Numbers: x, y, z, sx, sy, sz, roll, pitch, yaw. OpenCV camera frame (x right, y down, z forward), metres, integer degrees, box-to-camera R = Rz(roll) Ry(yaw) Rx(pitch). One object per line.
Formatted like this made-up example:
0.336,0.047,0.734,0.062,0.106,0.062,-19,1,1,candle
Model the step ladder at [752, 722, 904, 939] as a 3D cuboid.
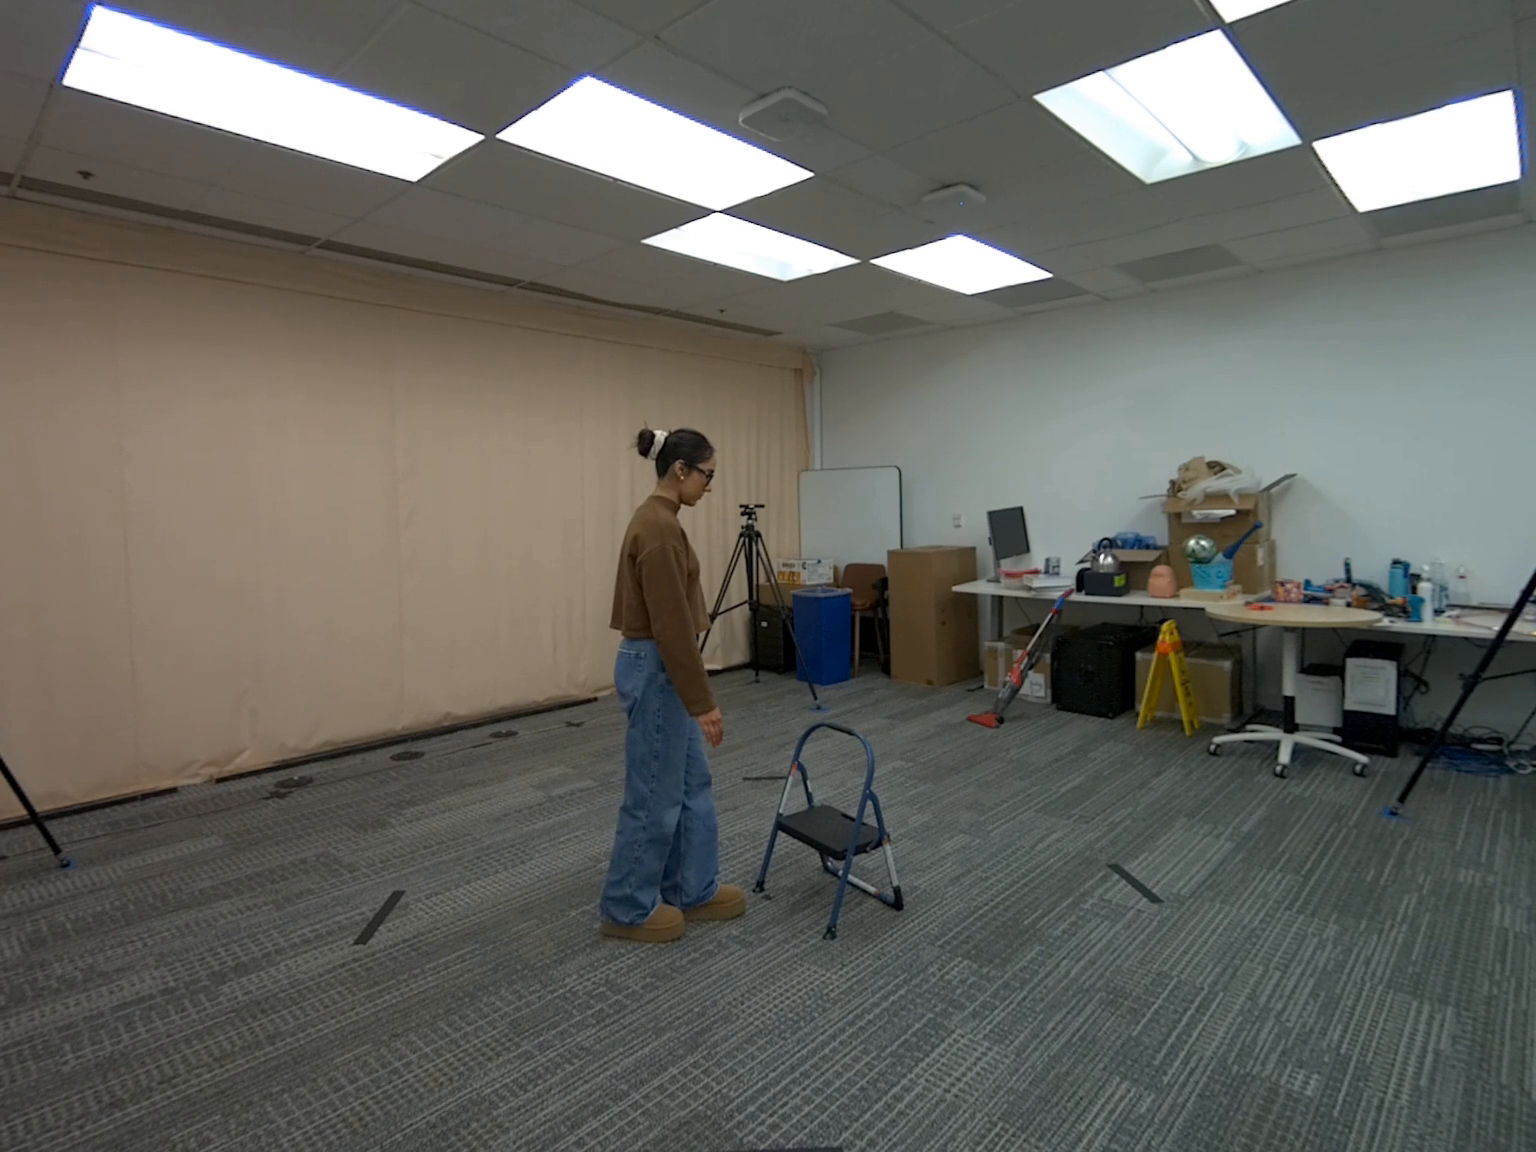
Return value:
0.206,0.837,2.939,0.339,0.605,0.444,-3,4,-35,step ladder
